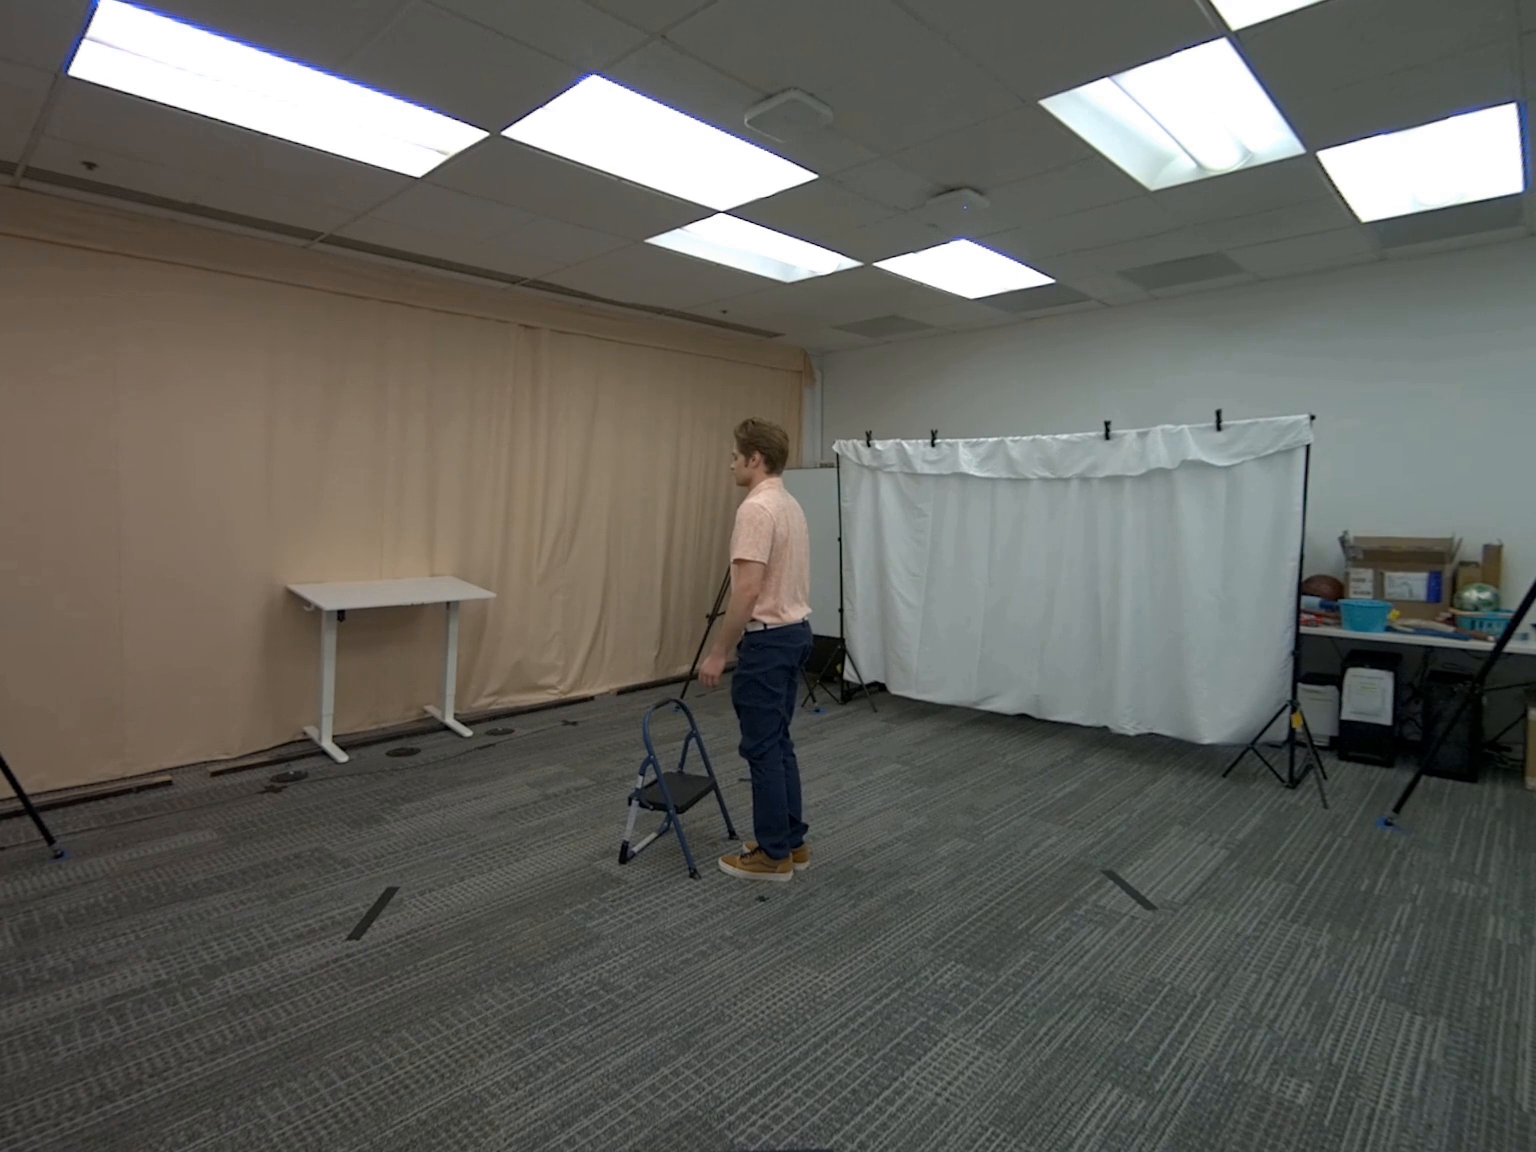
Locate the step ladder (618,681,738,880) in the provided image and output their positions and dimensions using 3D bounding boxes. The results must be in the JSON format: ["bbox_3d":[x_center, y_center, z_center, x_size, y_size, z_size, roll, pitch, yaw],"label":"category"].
[{"bbox_3d":[-0.359,0.810,3.392,0.357,0.605,0.422,0,3,21],"label":"step ladder"}]
